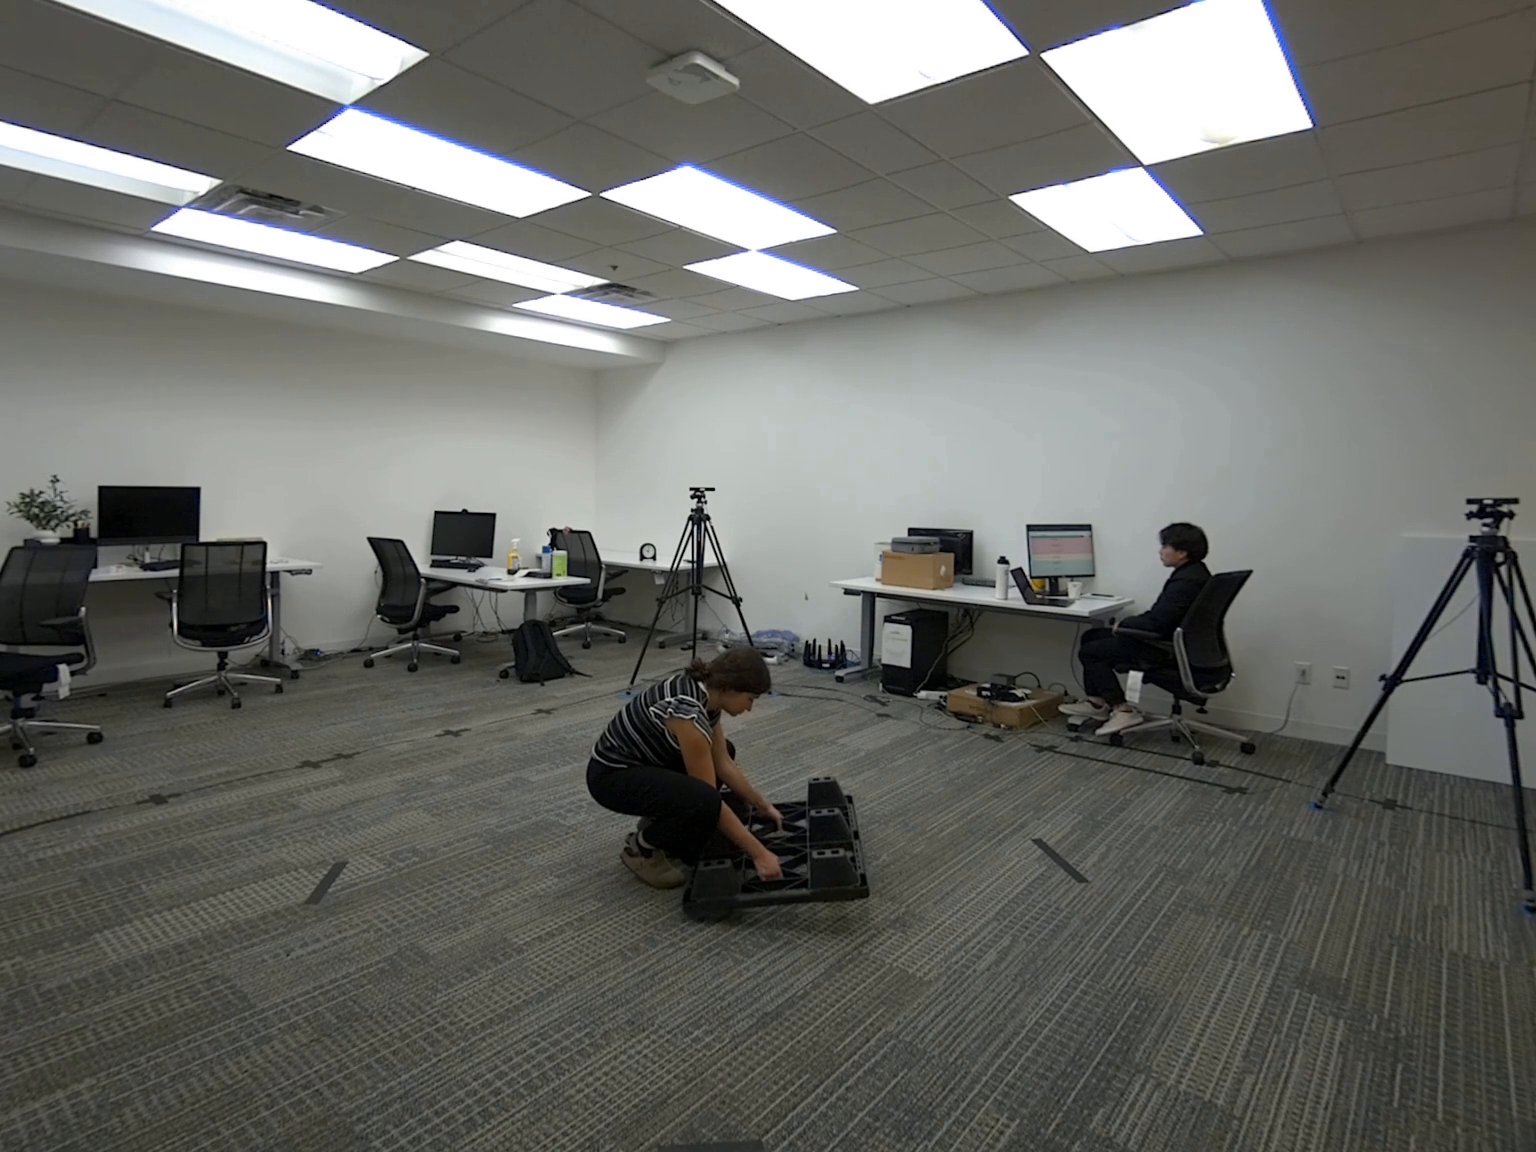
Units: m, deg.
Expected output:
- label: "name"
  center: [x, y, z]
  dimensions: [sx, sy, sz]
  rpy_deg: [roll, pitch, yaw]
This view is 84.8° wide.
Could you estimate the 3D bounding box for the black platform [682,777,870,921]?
- label: "black platform"
  center: [0.029, 0.923, 3.066]
  dimensions: [0.608, 0.142, 0.806]
  rpy_deg: [-9, 6, 3]
